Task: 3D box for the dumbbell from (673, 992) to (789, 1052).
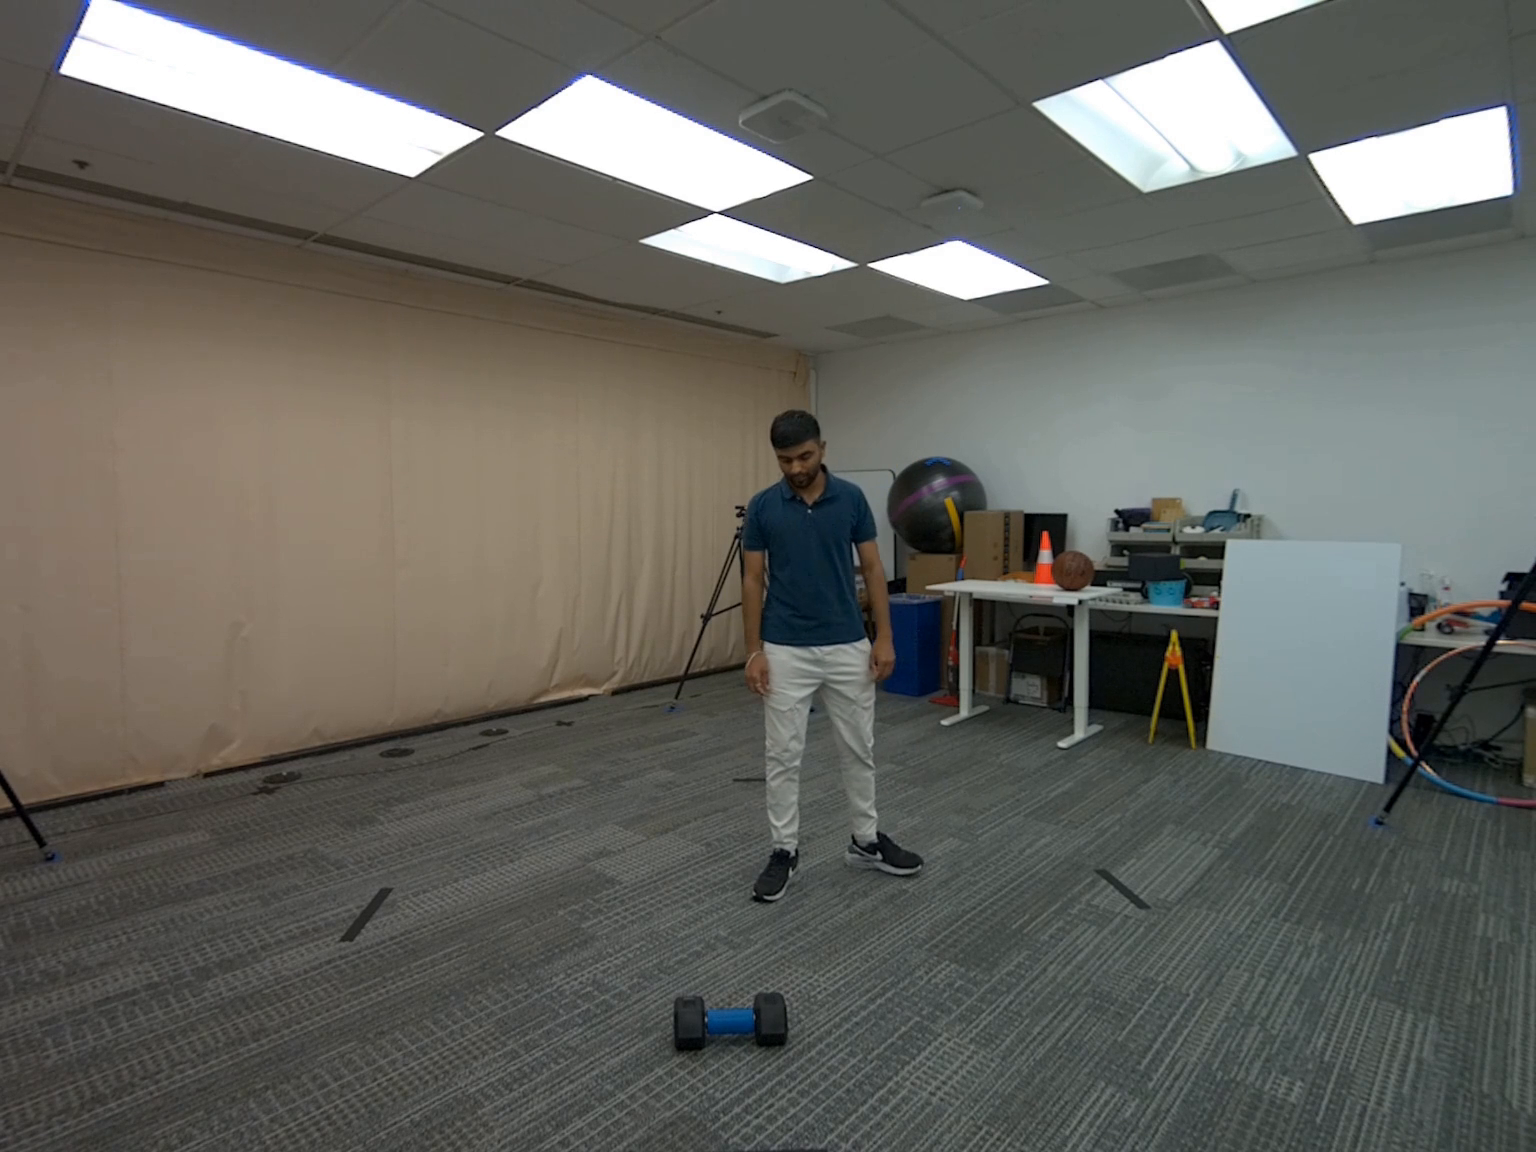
[{"bbox_3d":[-0.097,1.159,2.184,0.292,0.125,0.107,0,-28,-3],"label":"dumbbell"}]
